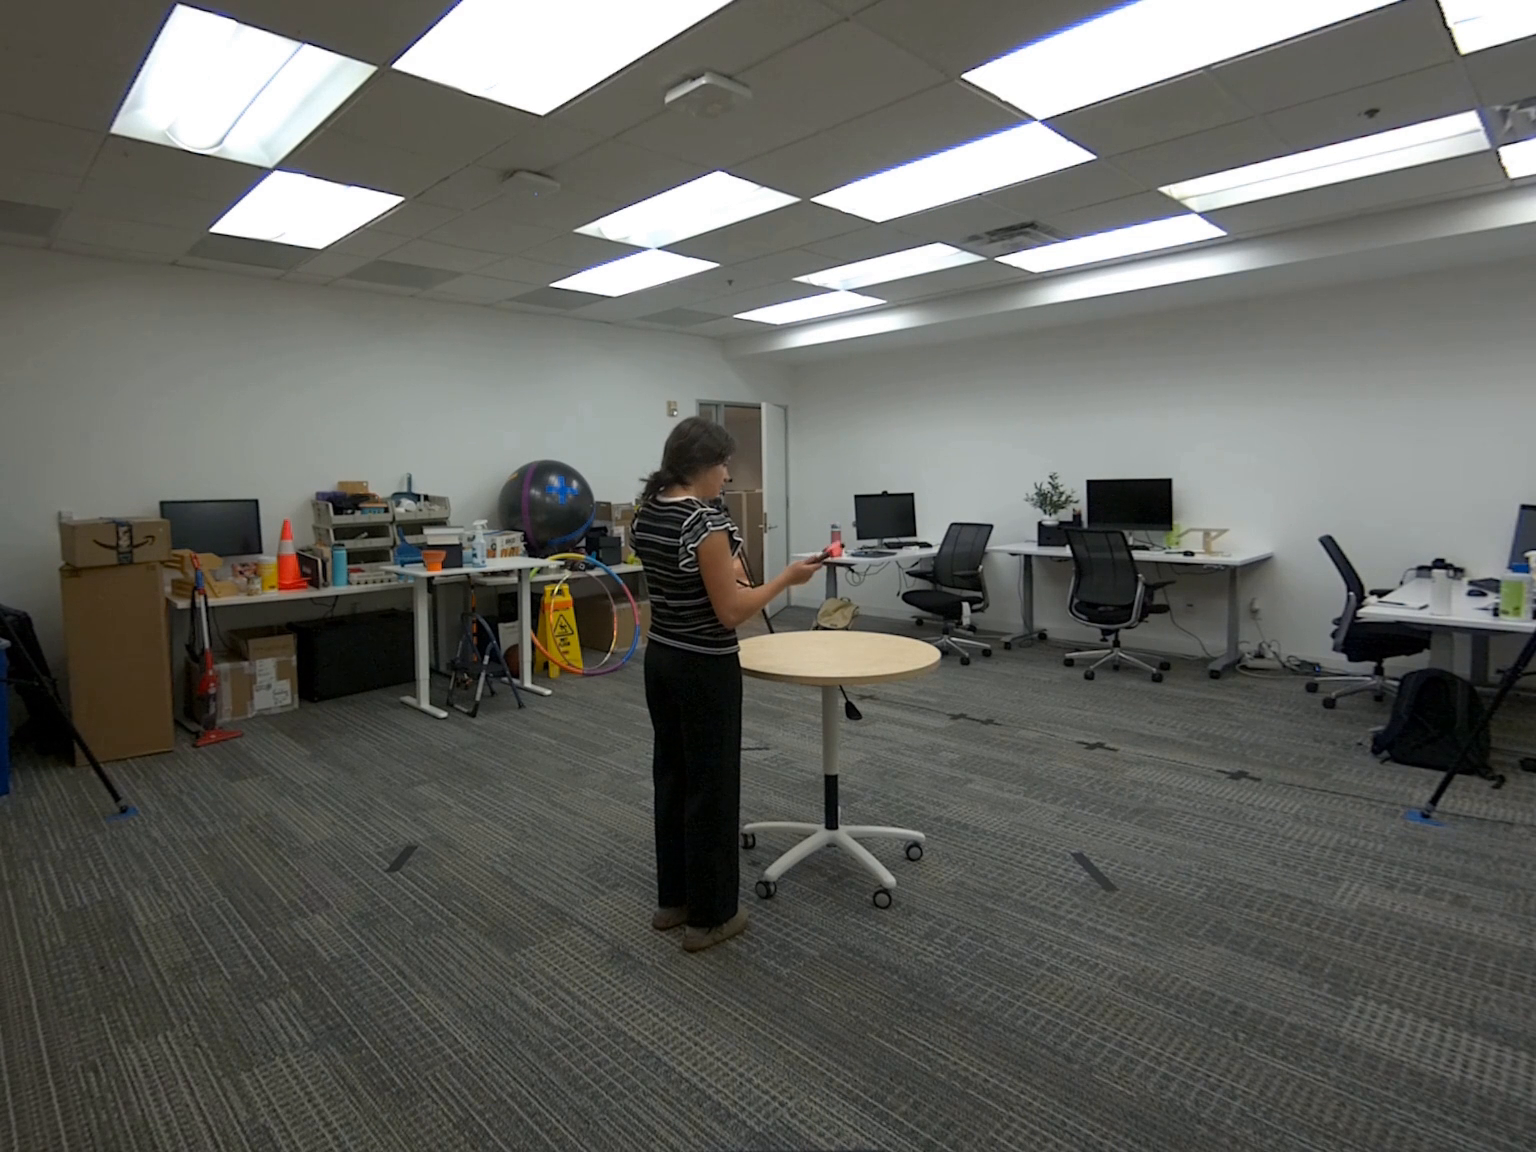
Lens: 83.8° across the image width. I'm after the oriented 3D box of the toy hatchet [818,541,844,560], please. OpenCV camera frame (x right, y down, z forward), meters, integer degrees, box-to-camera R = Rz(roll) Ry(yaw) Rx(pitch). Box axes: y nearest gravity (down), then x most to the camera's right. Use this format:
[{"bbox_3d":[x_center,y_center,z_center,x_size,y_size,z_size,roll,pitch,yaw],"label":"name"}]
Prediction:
[{"bbox_3d":[0.119,-0.045,2.622,0.274,0.029,0.131,-23,15,33],"label":"toy hatchet"}]
